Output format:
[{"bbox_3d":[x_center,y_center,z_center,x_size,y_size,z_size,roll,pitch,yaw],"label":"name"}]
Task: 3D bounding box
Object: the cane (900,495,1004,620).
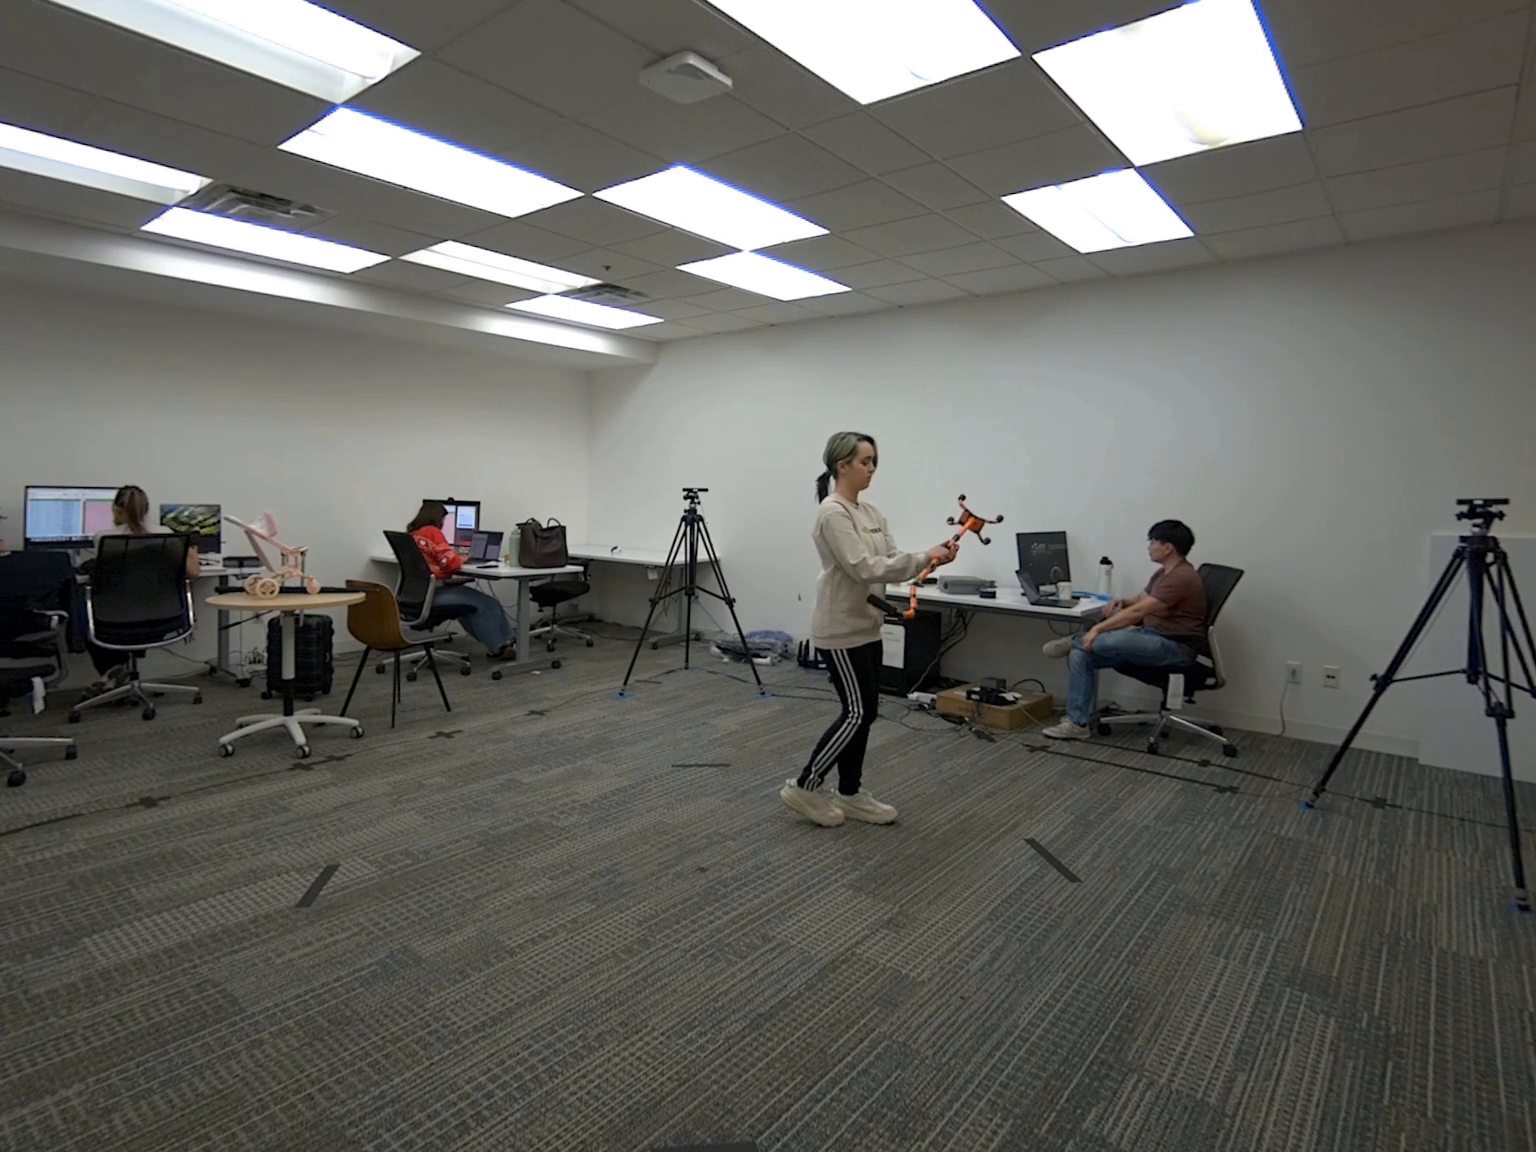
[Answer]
[{"bbox_3d":[0.649,-0.055,3.291,0.211,0.149,0.900,33,40,16],"label":"cane"}]
